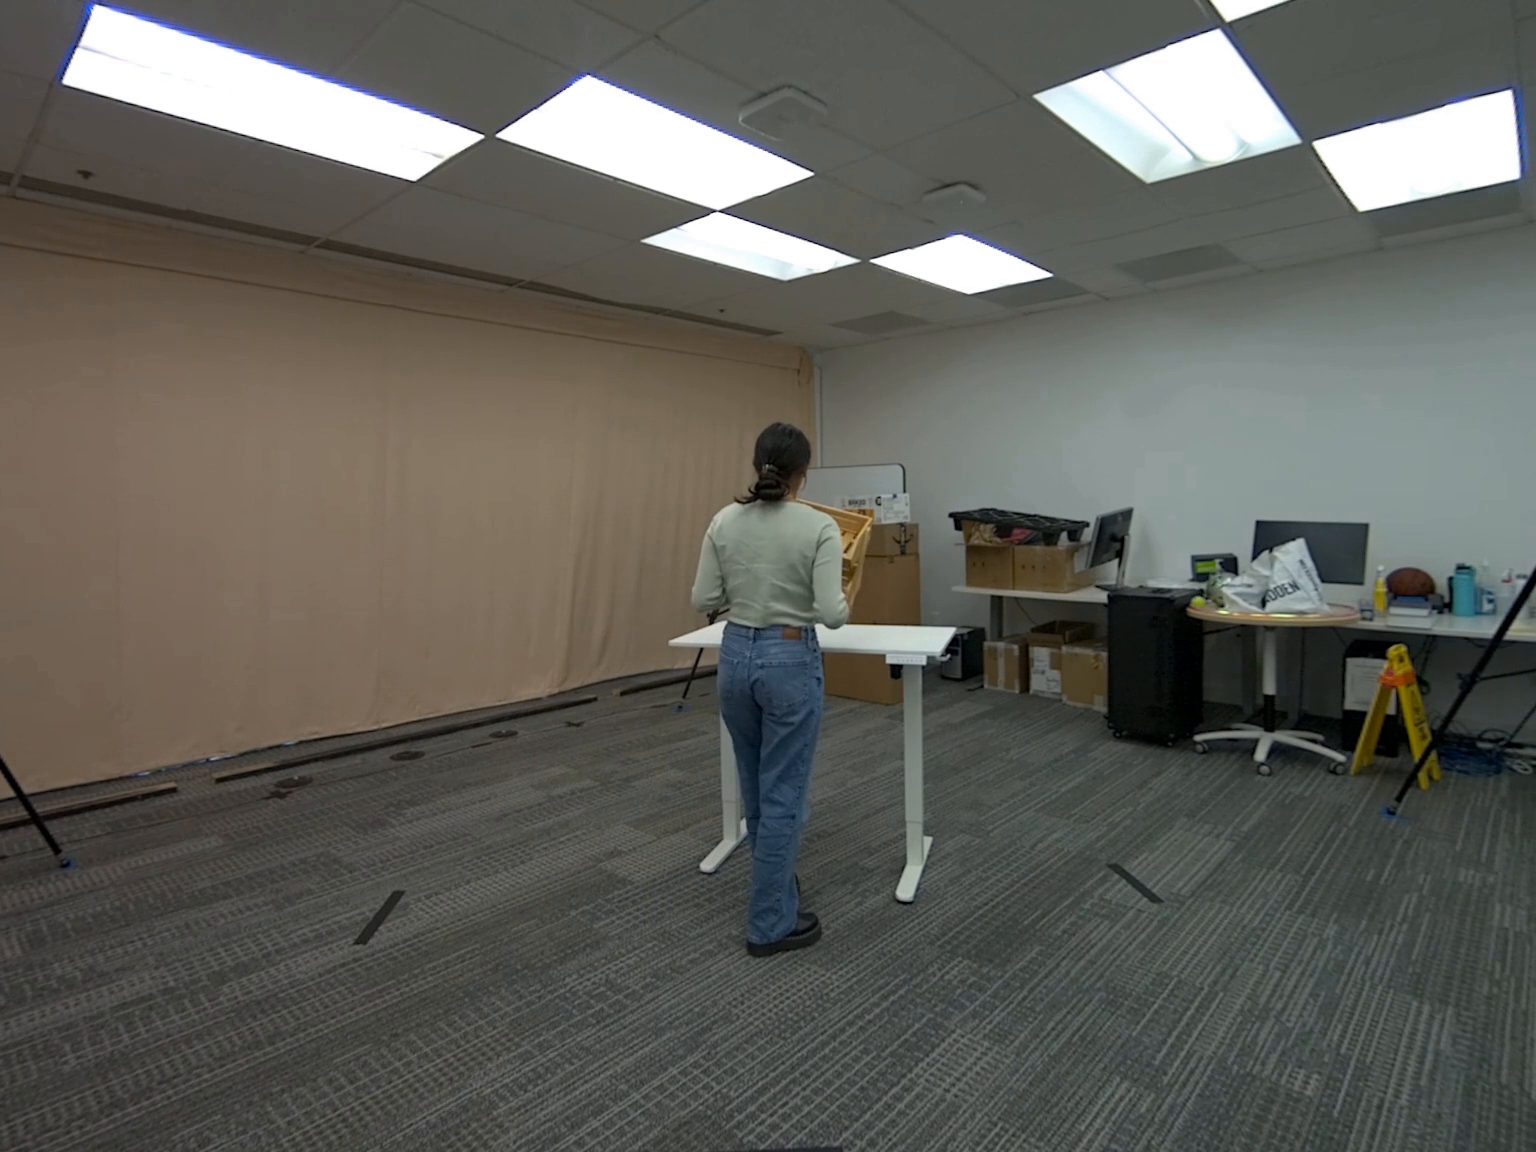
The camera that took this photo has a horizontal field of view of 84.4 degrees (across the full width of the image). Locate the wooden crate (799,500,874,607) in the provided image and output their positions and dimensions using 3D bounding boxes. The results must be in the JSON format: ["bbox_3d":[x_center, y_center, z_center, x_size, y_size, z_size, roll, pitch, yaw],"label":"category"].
[{"bbox_3d":[0.161,-0.059,2.878,0.332,0.269,0.300,15,36,19],"label":"wooden crate"}]
